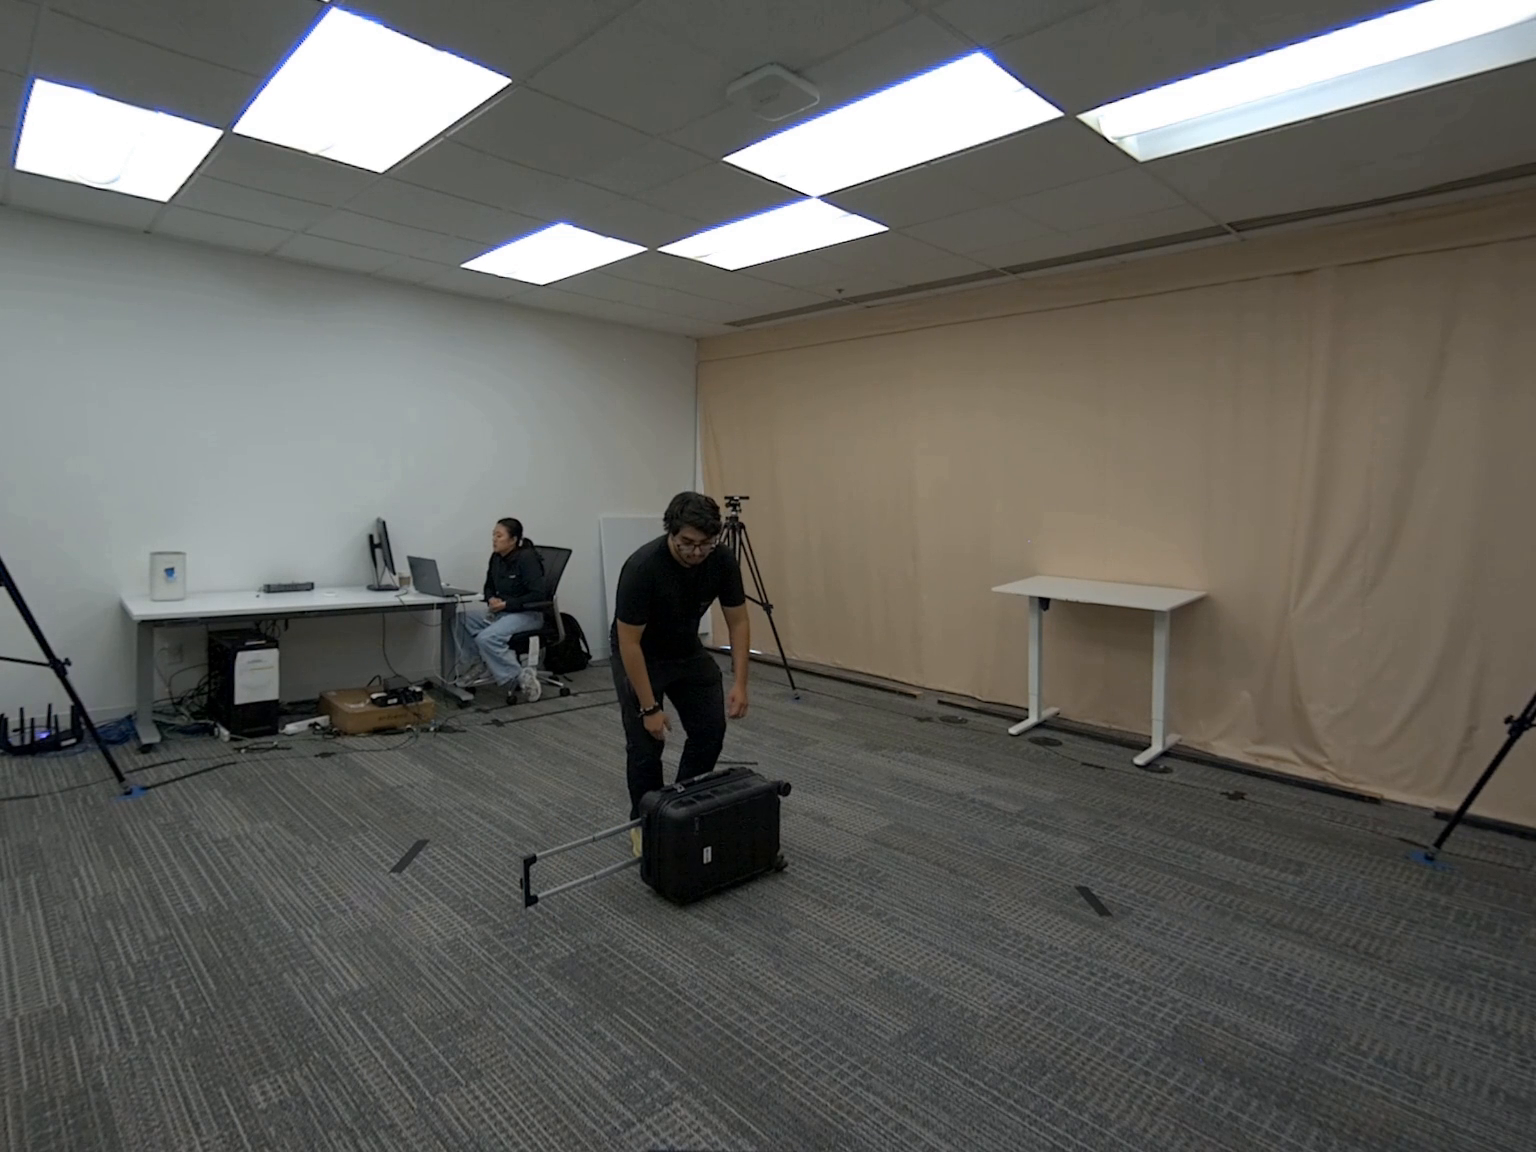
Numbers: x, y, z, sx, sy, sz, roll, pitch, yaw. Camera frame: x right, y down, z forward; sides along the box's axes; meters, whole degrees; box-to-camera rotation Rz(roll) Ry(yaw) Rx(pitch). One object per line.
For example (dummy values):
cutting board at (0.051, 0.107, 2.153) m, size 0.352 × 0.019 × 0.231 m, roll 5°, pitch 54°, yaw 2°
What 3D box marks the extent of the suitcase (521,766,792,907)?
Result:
suitcase at (-0.346, 0.934, 2.889) m, size 0.957 × 0.382 × 0.264 m, roll -5°, pitch 8°, yaw -44°
